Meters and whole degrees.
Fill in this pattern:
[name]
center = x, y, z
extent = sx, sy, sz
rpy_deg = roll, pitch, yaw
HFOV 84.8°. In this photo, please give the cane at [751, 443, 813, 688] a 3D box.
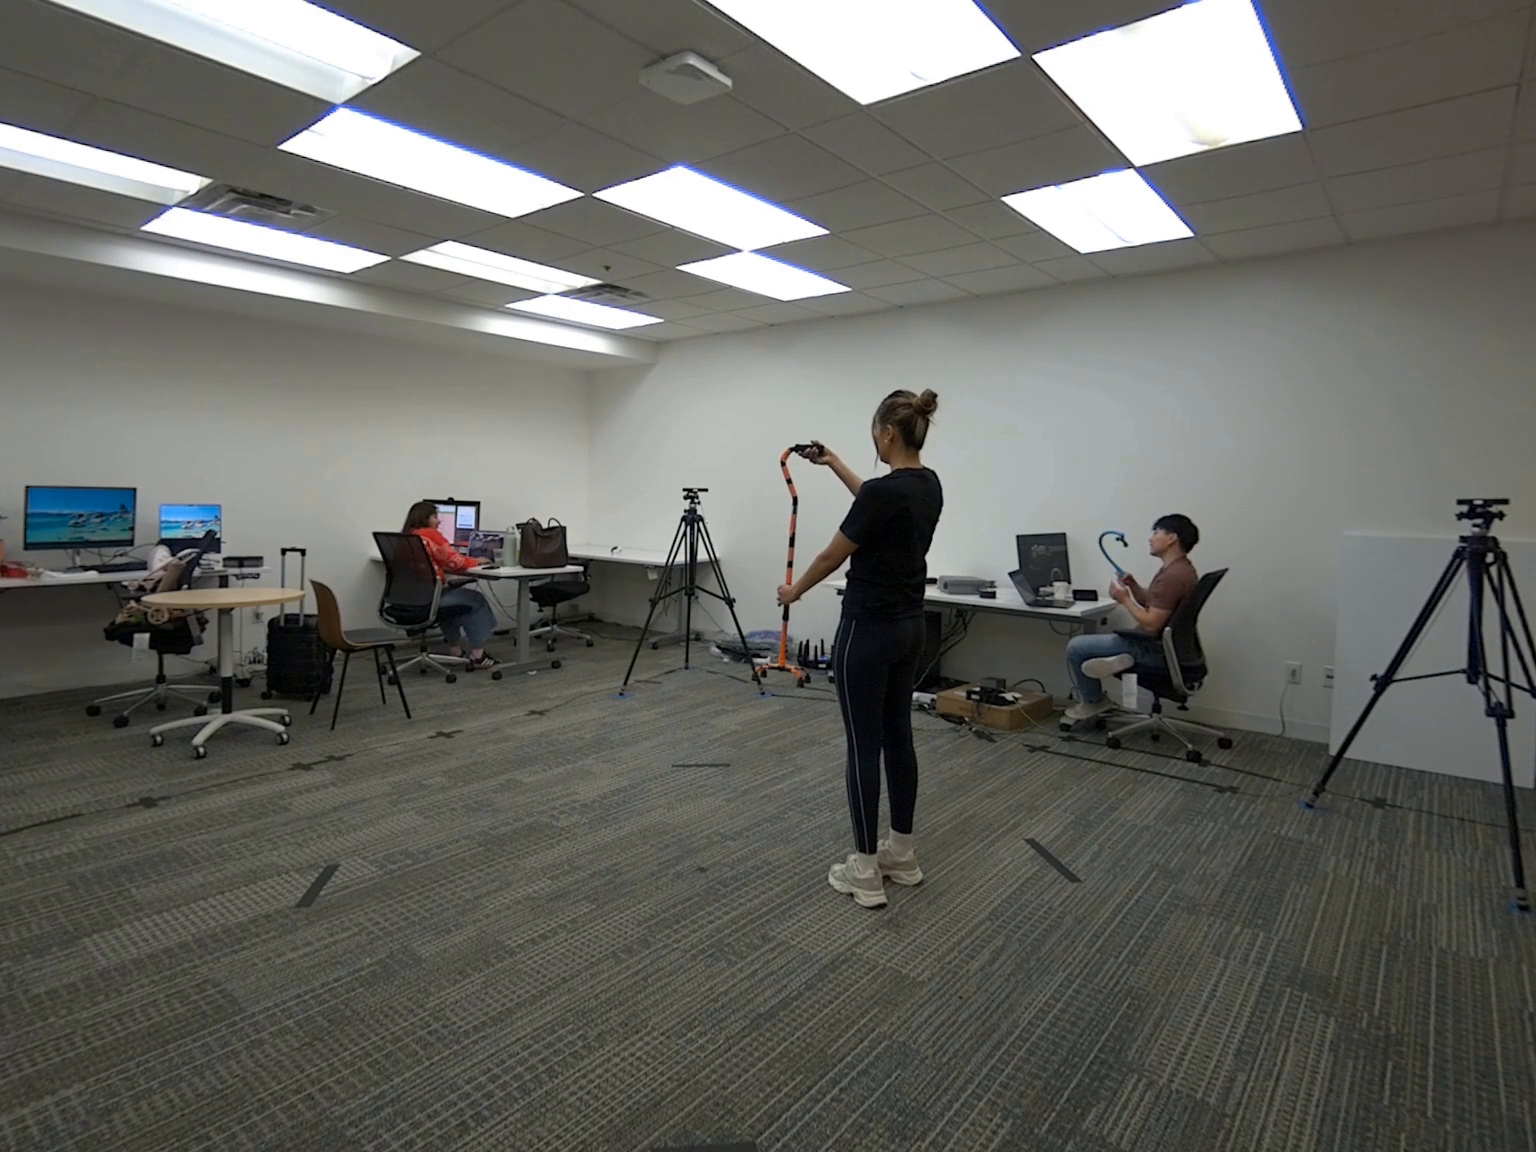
[cane]
center = 0.084, -0.048, 3.269
extent = 0.210, 0.909, 0.149
rpy_deg = 3, -1, 13
